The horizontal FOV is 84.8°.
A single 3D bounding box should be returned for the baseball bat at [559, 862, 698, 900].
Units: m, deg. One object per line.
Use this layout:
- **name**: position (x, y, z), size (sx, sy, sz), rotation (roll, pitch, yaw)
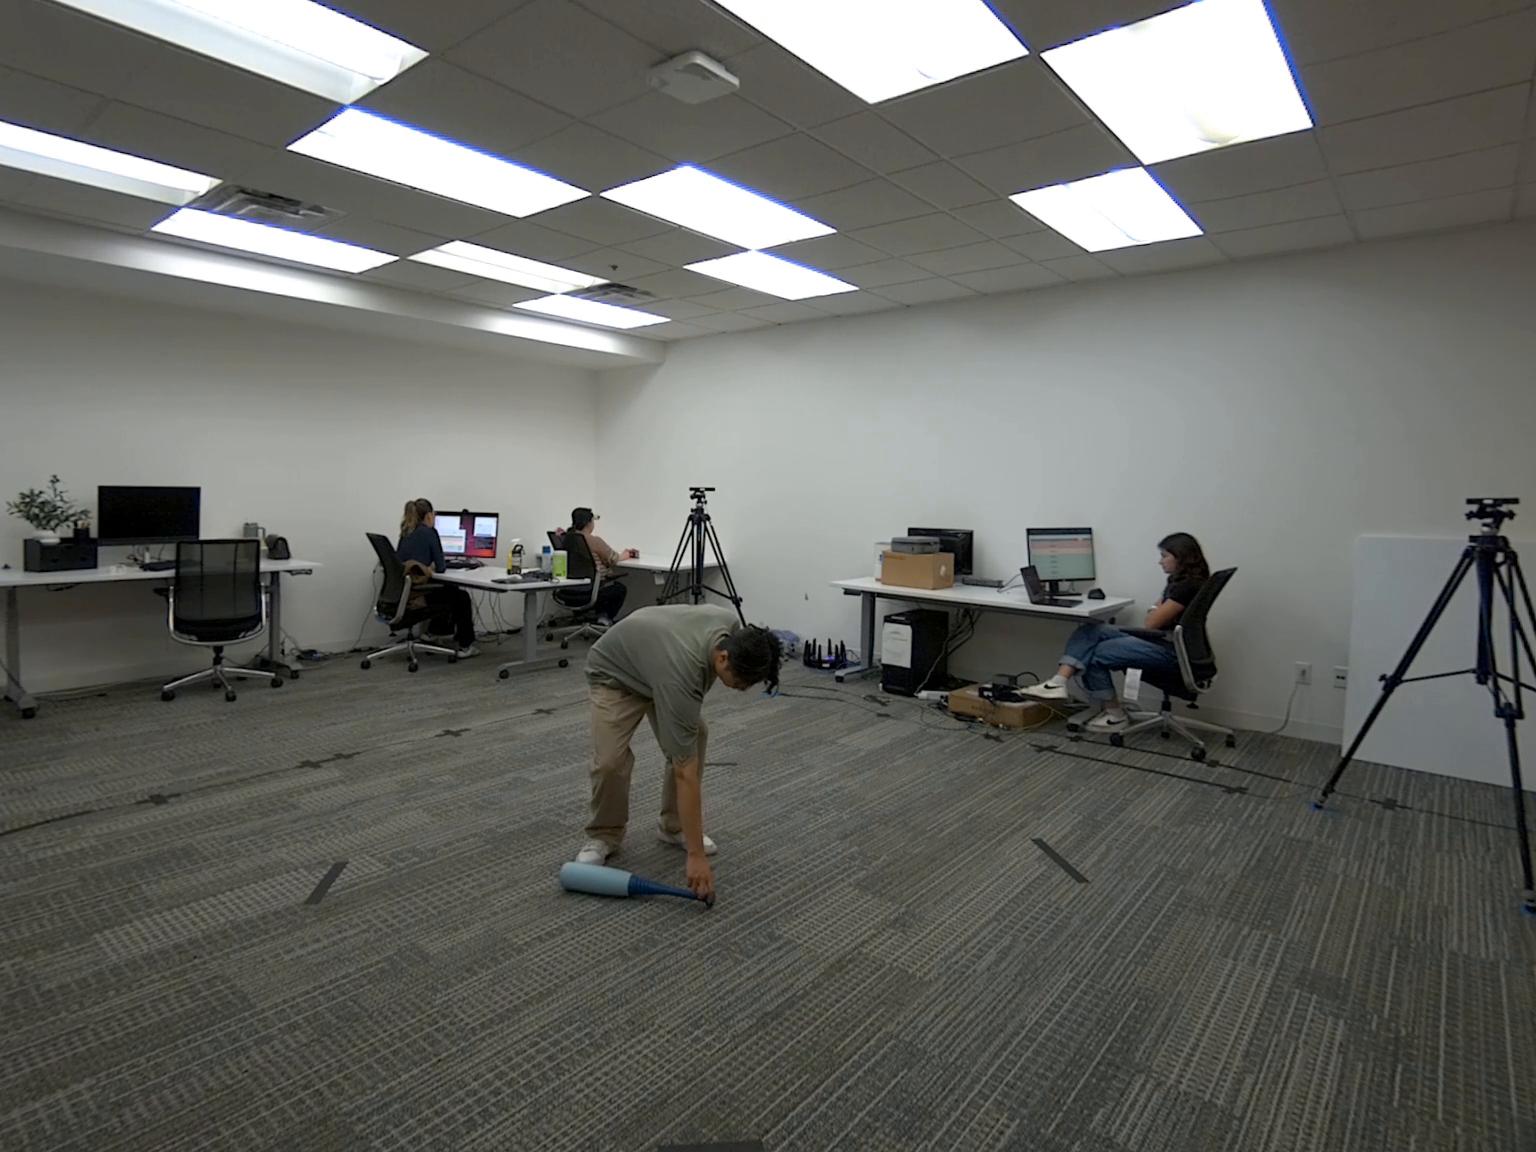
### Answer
- **baseball bat**: position (-0.453, 1.040, 2.868), size (0.551, 0.089, 0.088), rotation (3, 4, 13)
